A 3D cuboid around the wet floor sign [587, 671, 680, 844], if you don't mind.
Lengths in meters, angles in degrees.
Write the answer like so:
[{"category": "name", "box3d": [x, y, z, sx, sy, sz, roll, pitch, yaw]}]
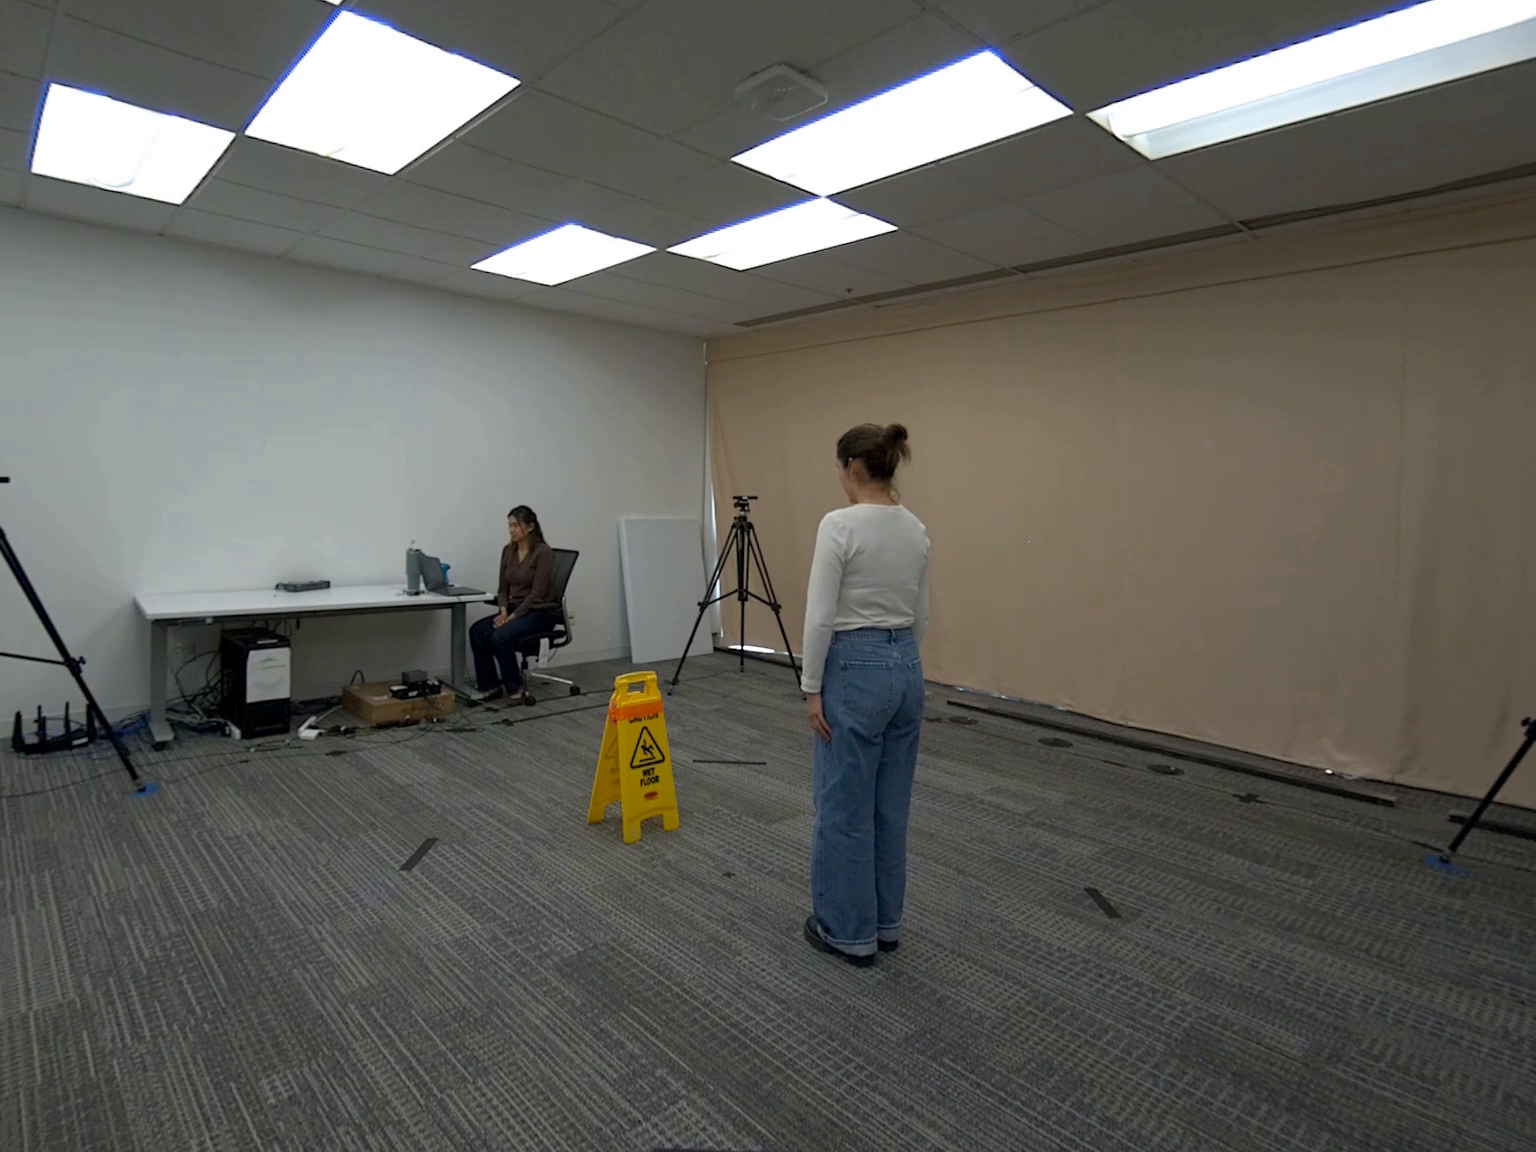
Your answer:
[{"category": "wet floor sign", "box3d": [-0.569, 0.731, 3.535, 0.275, 0.645, 0.297, 0, 3, -45]}]
